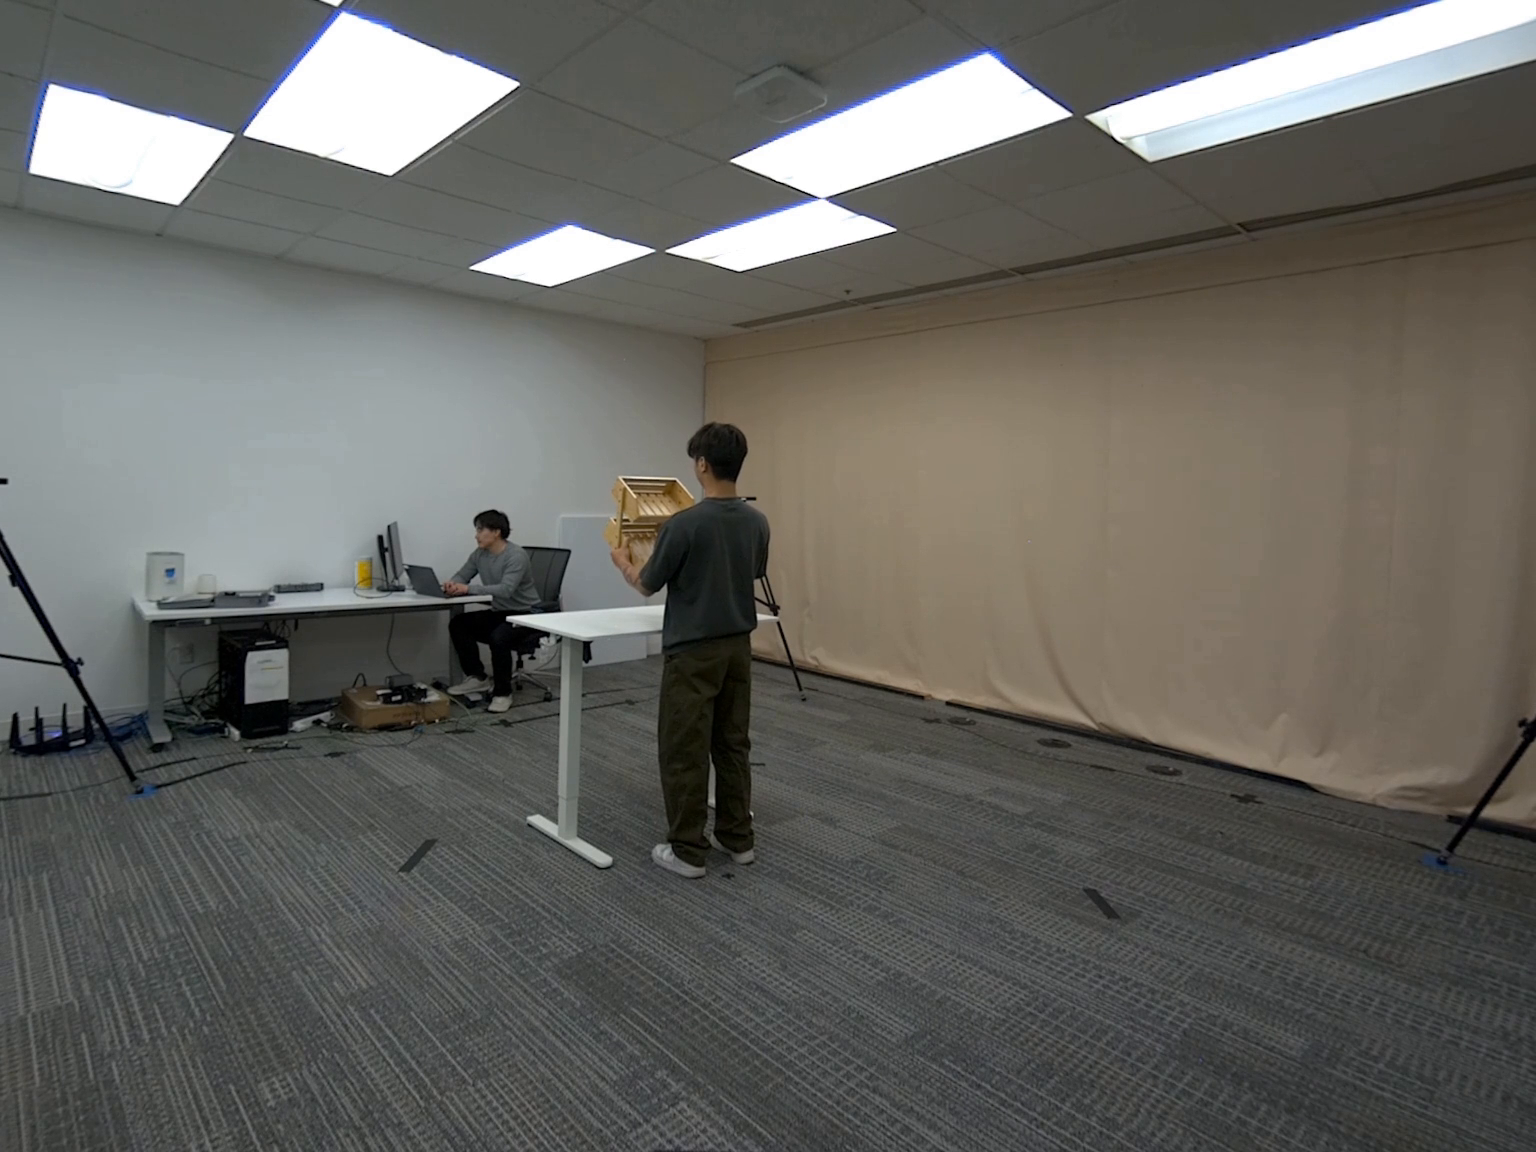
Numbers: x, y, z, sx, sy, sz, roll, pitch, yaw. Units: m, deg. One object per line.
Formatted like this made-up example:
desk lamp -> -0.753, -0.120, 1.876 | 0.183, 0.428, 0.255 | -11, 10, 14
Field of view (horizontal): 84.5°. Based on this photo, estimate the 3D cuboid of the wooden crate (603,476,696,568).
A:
wooden crate -> -0.468, -0.215, 3.452 | 0.317, 0.271, 0.311 | -3, 41, -44
